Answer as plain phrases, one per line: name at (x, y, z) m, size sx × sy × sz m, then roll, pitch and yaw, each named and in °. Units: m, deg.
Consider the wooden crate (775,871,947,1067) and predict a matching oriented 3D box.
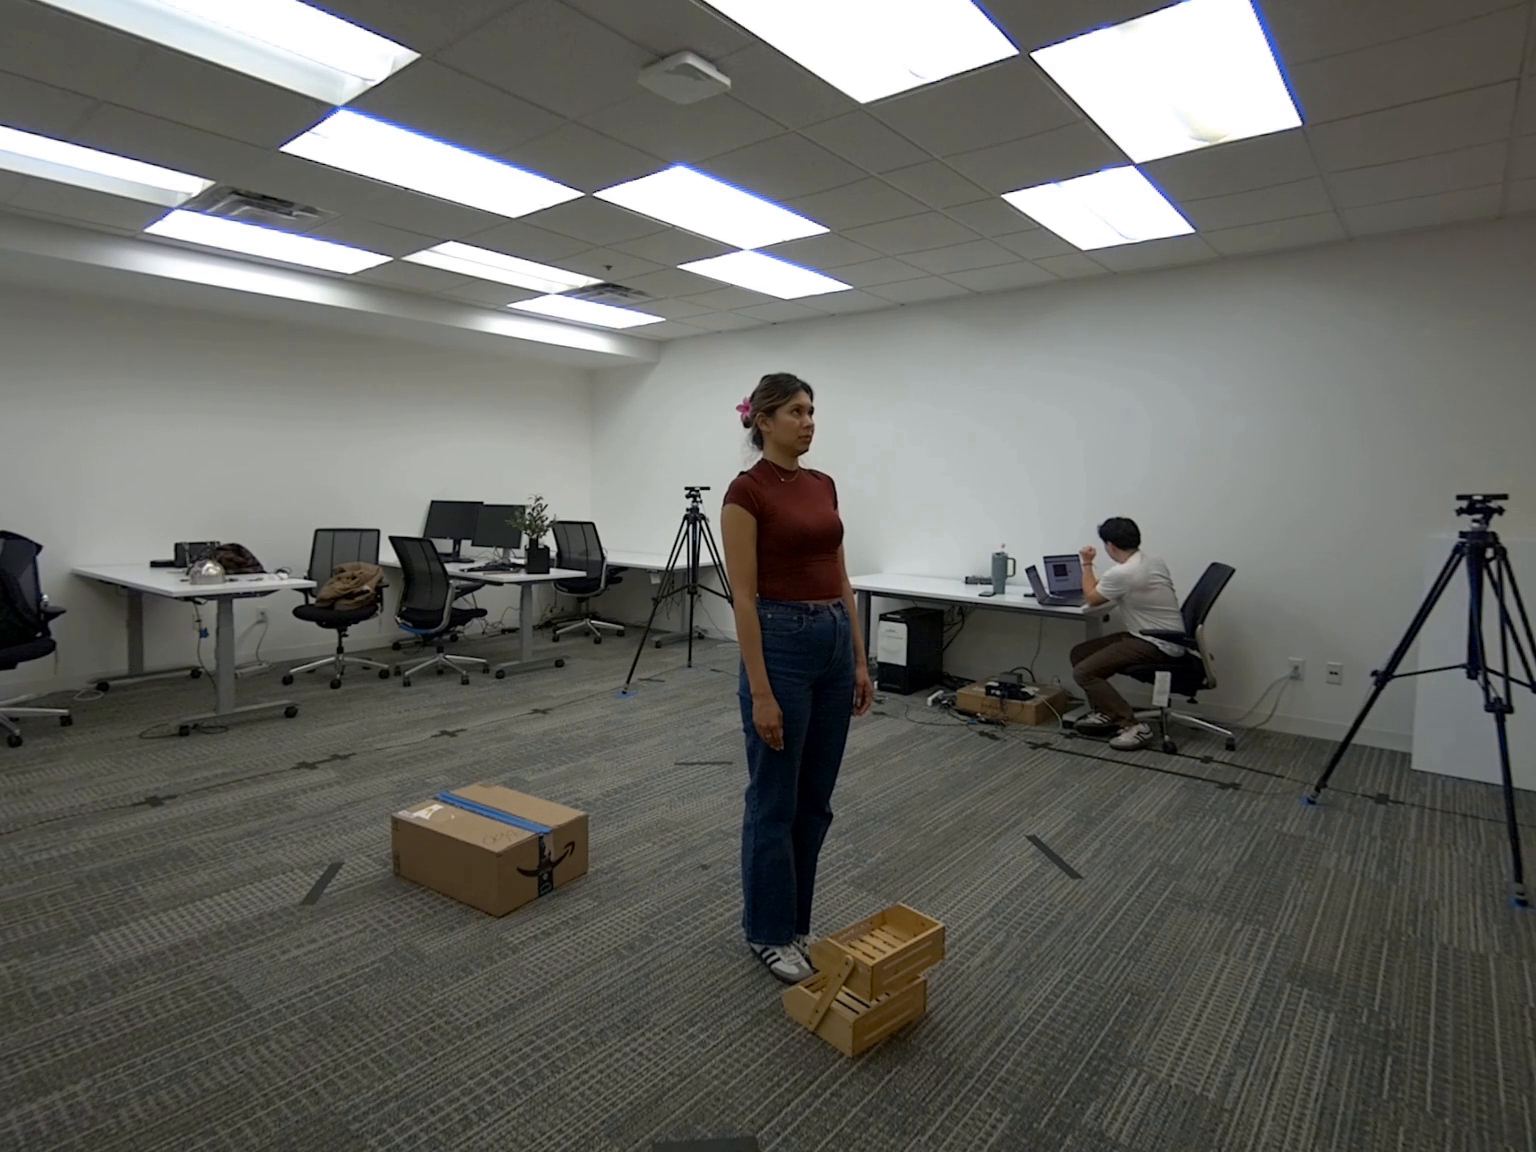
wooden crate at (0.244, 1.020, 2.237) m, size 0.315 × 0.272 × 0.312 m, roll -4°, pitch 7°, yaw -42°
